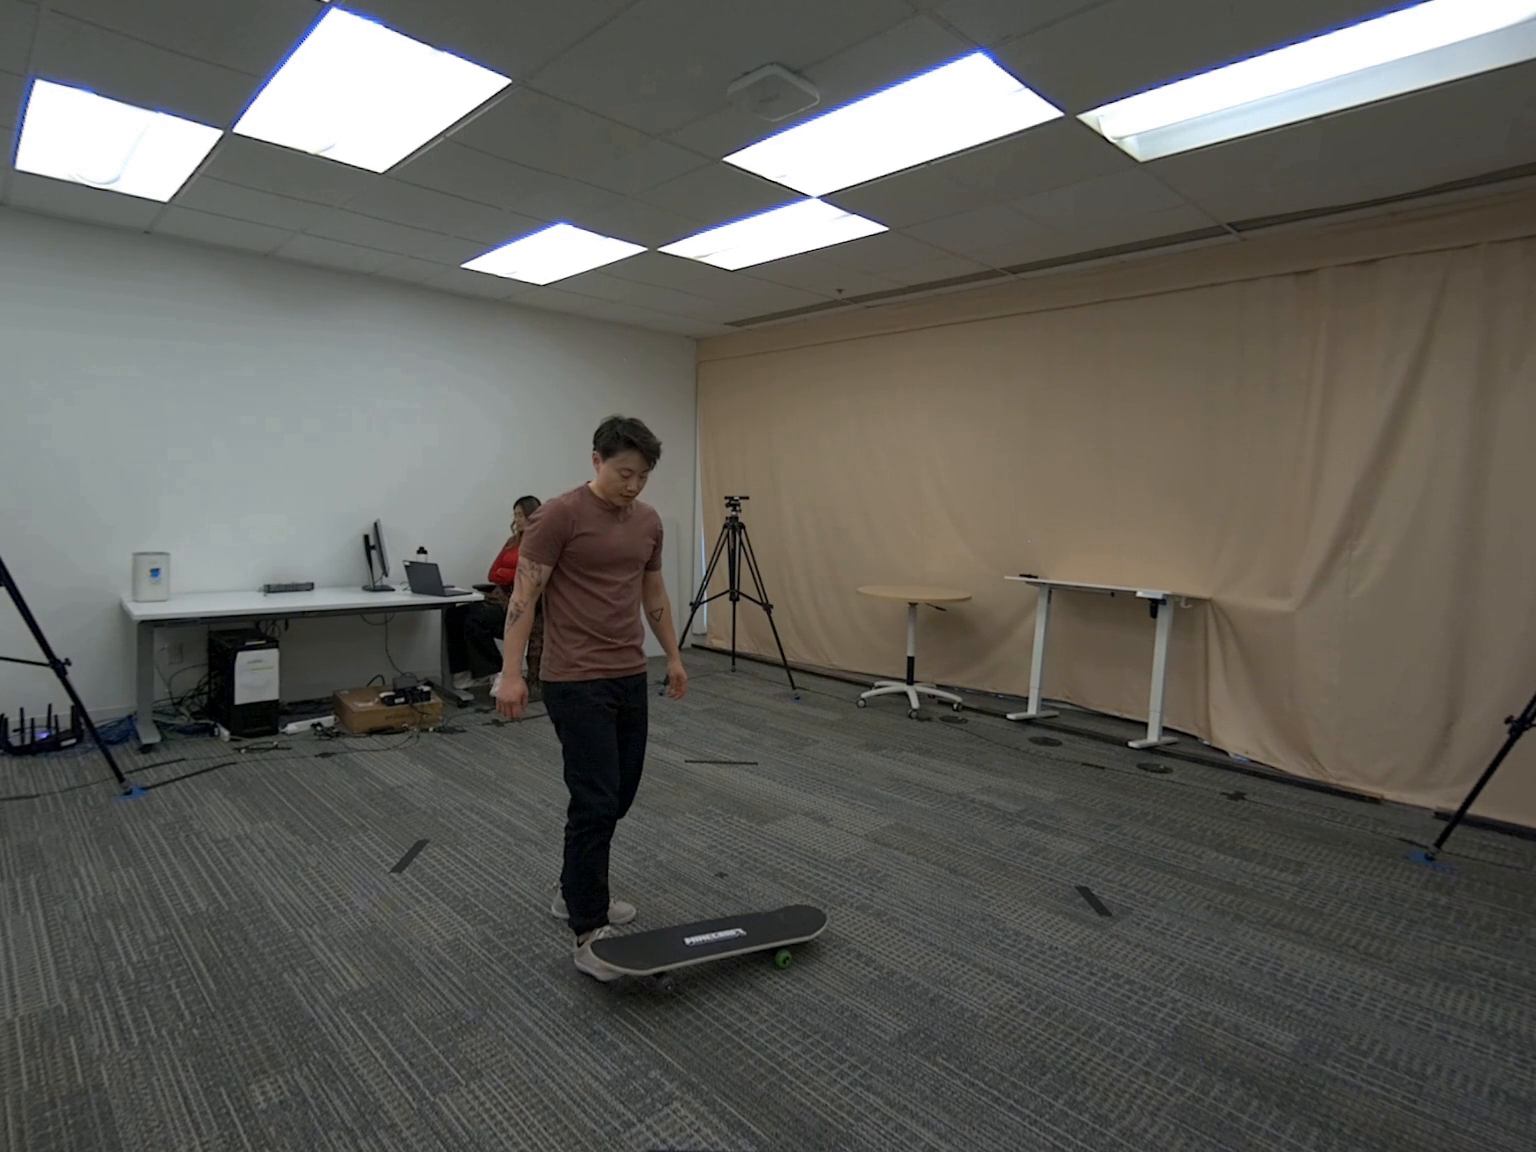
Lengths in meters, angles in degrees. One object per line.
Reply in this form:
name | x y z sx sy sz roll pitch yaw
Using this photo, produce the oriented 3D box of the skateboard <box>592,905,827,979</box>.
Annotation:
skateboard | -0.159 1.092 2.455 0.767 0.110 0.198 4 2 -33
